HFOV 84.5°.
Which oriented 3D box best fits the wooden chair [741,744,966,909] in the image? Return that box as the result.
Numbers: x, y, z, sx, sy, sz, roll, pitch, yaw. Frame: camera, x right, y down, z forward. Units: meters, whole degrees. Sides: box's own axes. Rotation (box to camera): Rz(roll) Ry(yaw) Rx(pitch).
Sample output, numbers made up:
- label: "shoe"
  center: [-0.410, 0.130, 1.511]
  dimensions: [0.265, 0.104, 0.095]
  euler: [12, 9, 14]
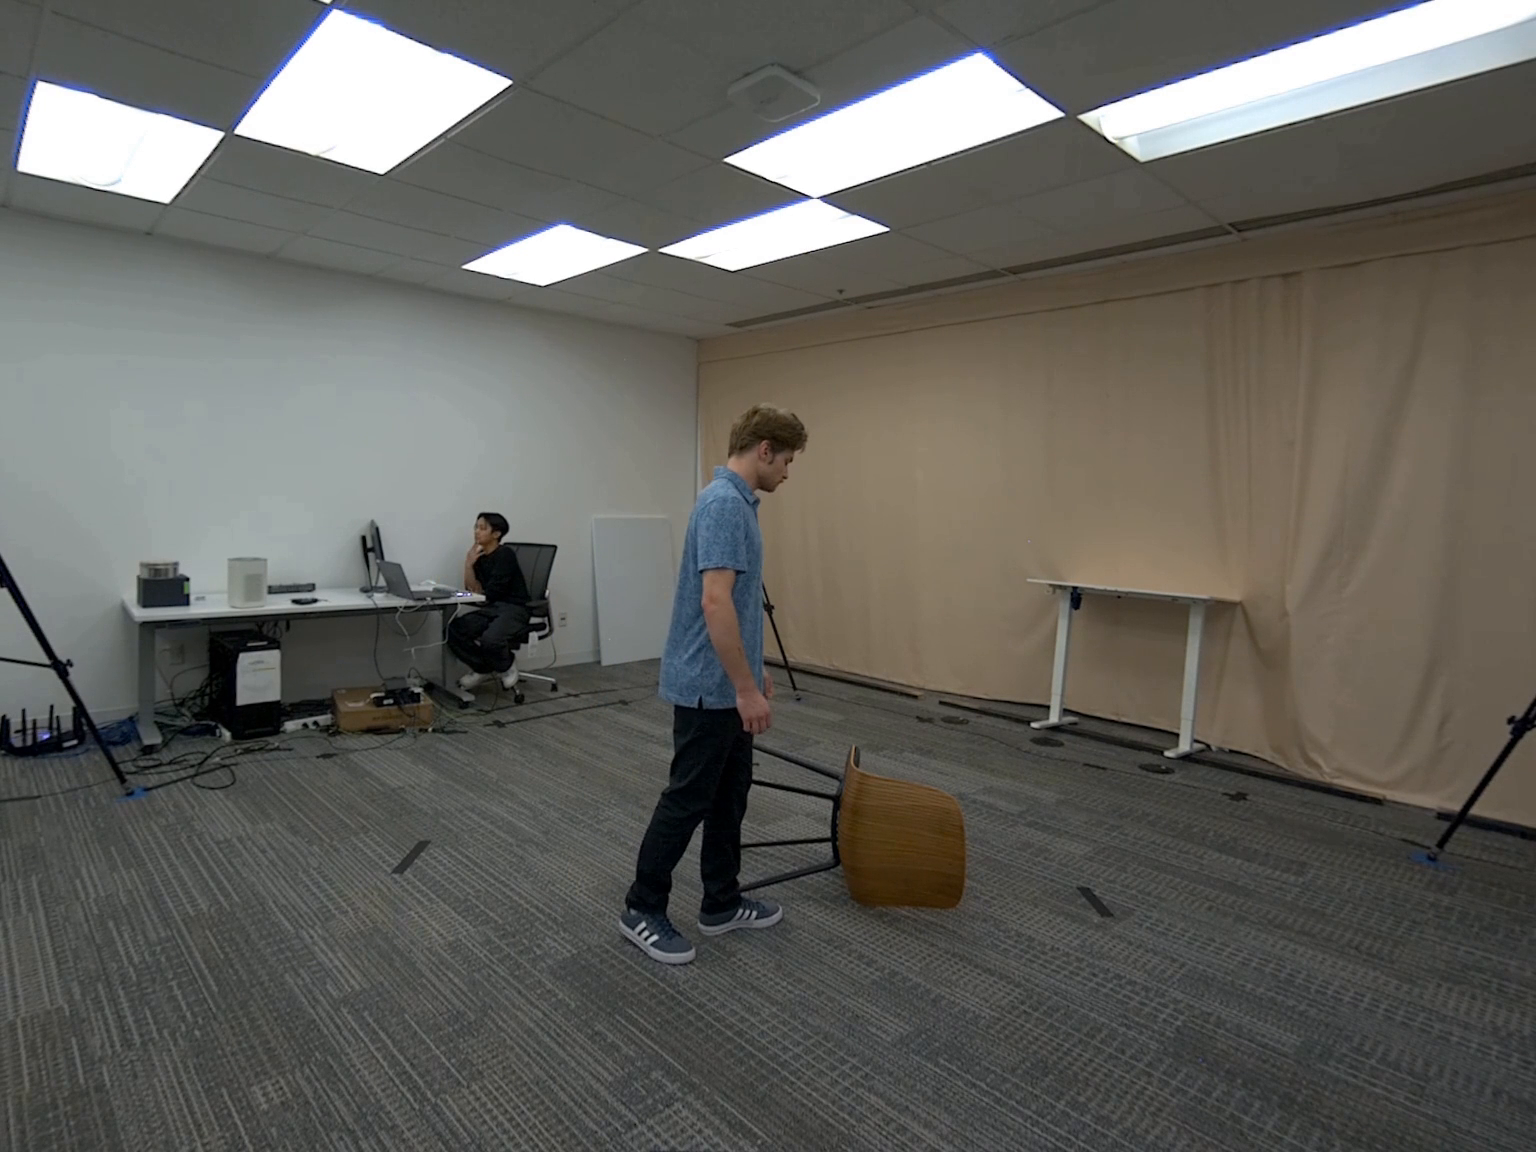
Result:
- label: "wooden chair"
  center: [0.262, 0.889, 3.058]
  dimensions: [0.887, 0.477, 0.518]
  euler: [2, 3, 14]
